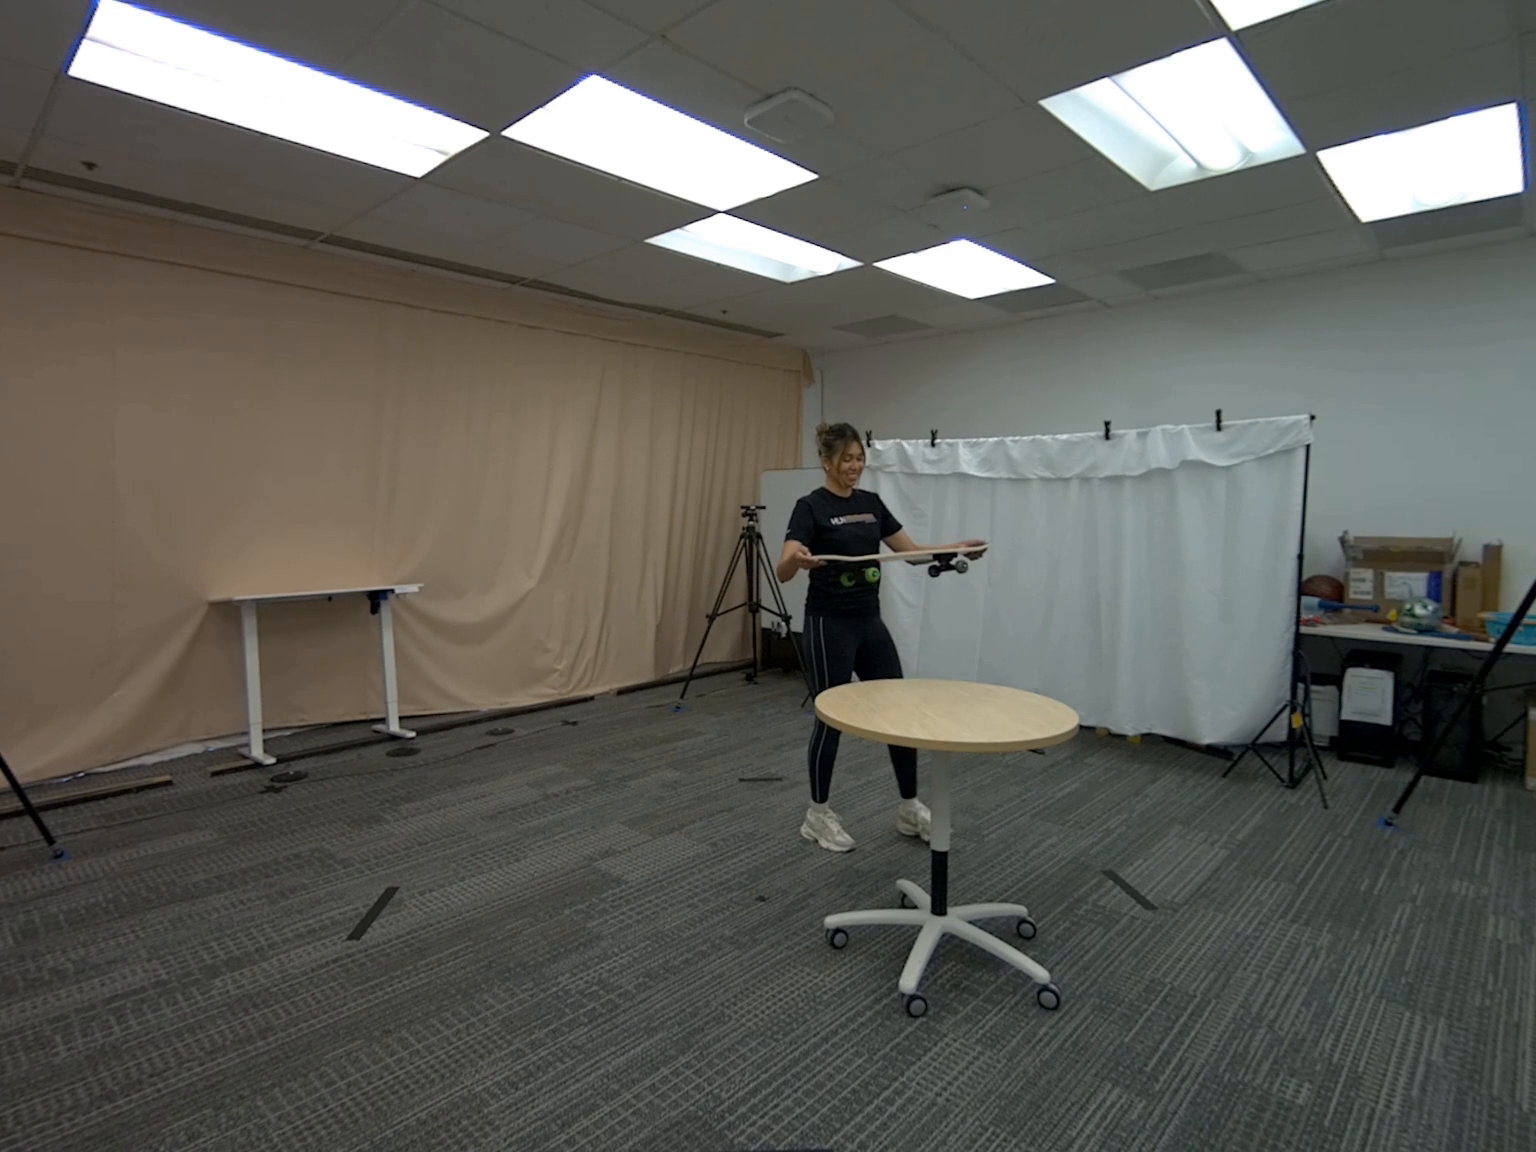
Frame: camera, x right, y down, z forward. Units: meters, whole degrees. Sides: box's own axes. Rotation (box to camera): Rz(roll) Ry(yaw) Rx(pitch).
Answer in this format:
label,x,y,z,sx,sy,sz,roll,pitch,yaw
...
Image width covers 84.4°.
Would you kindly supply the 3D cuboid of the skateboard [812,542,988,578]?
label,x,y,z,sx,sy,sz,roll,pitch,yaw
skateboard,0.517,-0.036,3.105,0.767,0.111,0.197,-5,-5,-25
